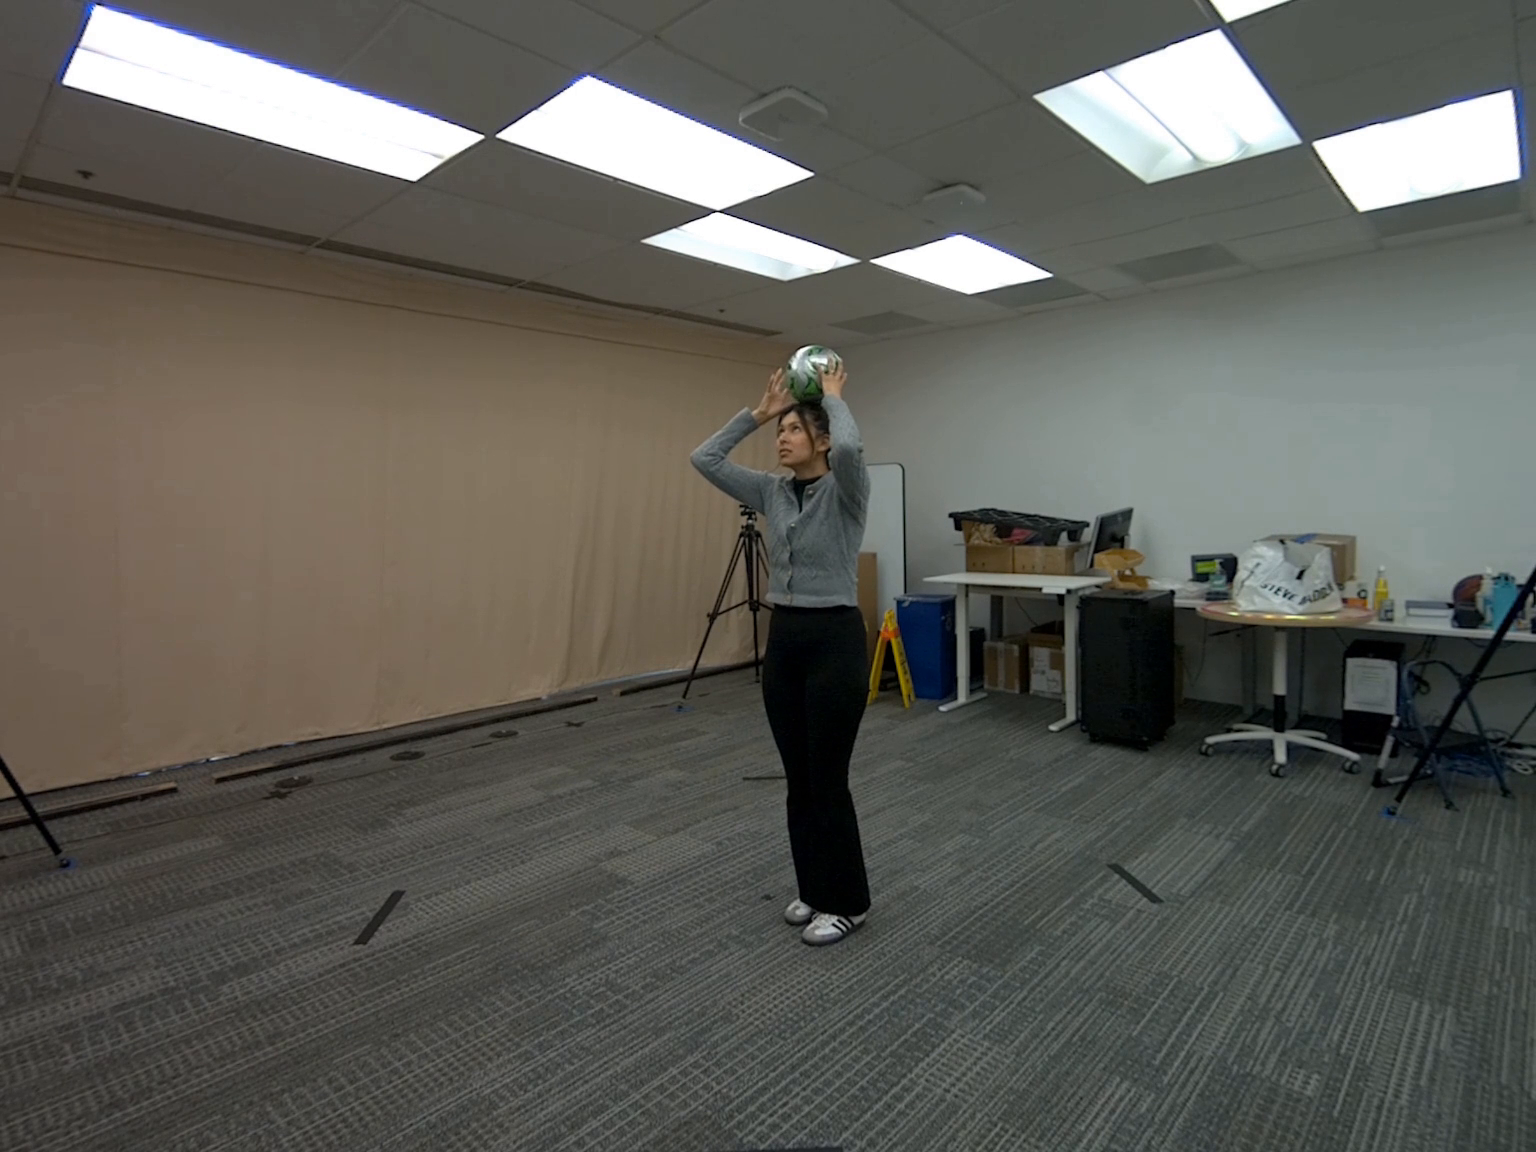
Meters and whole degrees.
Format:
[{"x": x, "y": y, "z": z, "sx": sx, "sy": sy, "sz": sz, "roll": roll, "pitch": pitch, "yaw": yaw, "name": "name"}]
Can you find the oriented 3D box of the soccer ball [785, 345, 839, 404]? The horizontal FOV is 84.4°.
[{"x": 0.146, "y": -0.640, "z": 2.698, "sx": 0.187, "sy": 0.187, "sz": 0.188, "roll": -1, "pitch": 4, "yaw": -2, "name": "soccer ball"}]
